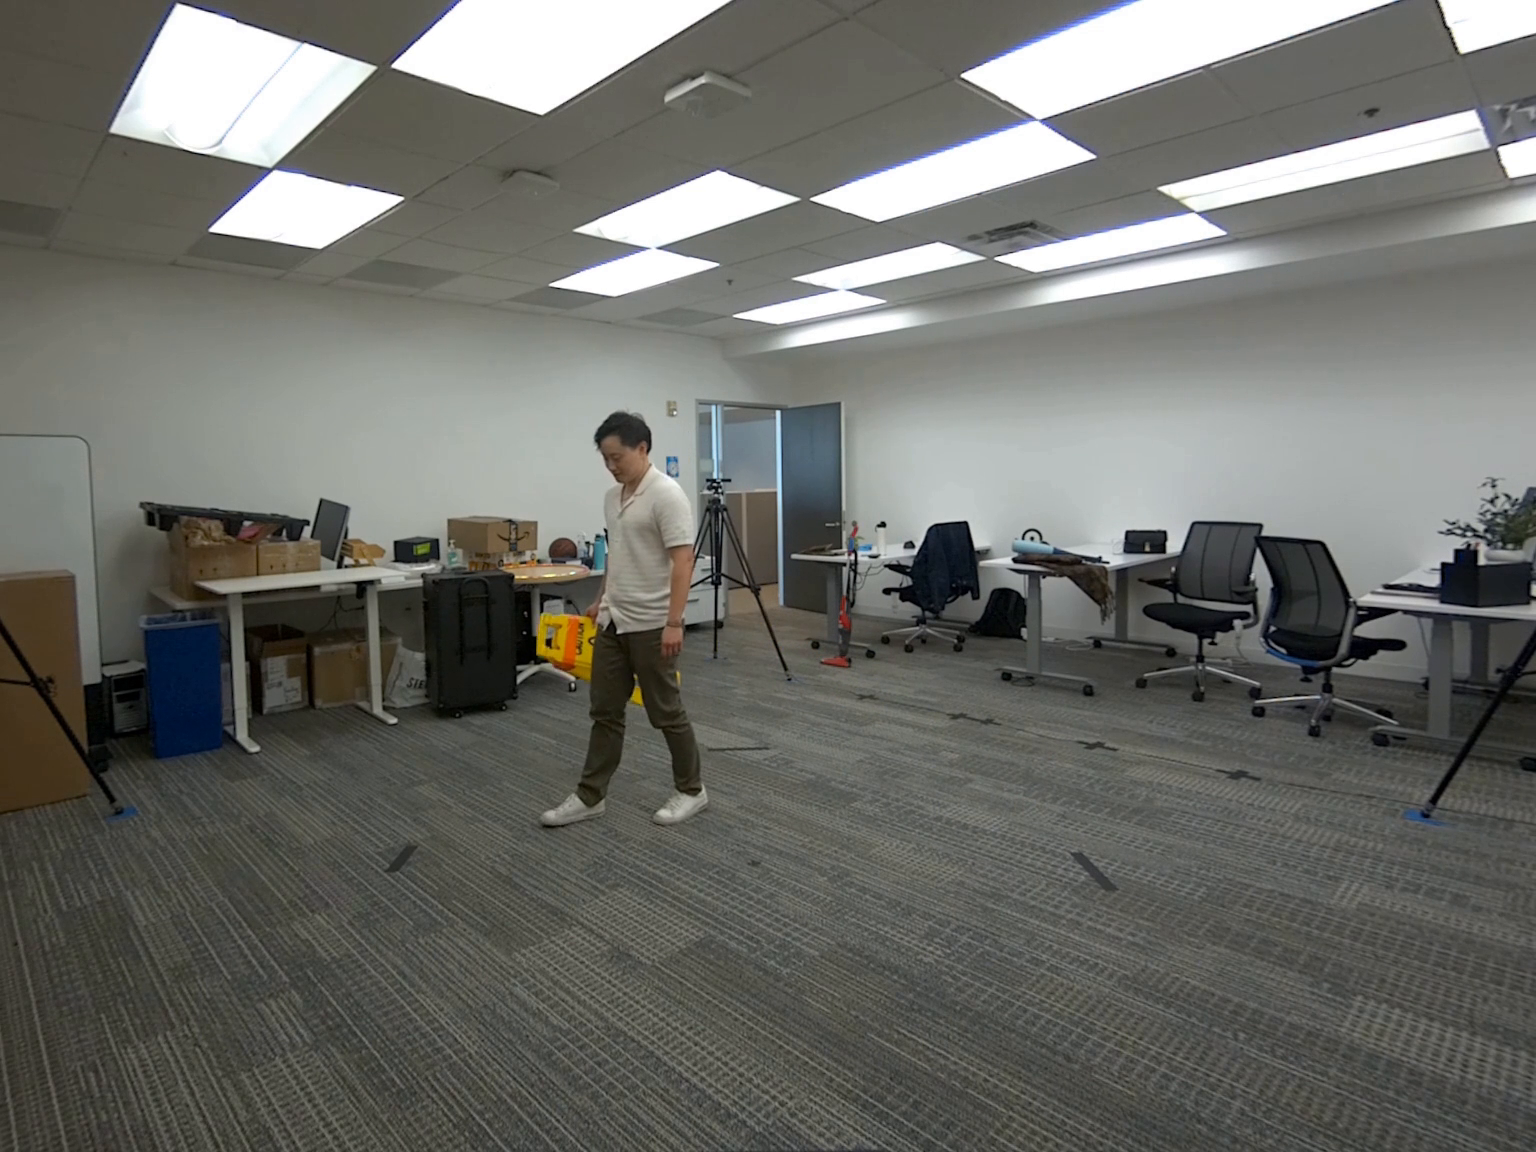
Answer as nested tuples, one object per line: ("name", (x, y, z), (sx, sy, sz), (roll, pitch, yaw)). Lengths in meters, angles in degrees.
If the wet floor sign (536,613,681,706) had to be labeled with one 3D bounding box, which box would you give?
("wet floor sign", (-0.745, 0.338, 3.834), (0.624, 0.289, 0.293), (22, -35, -35))
